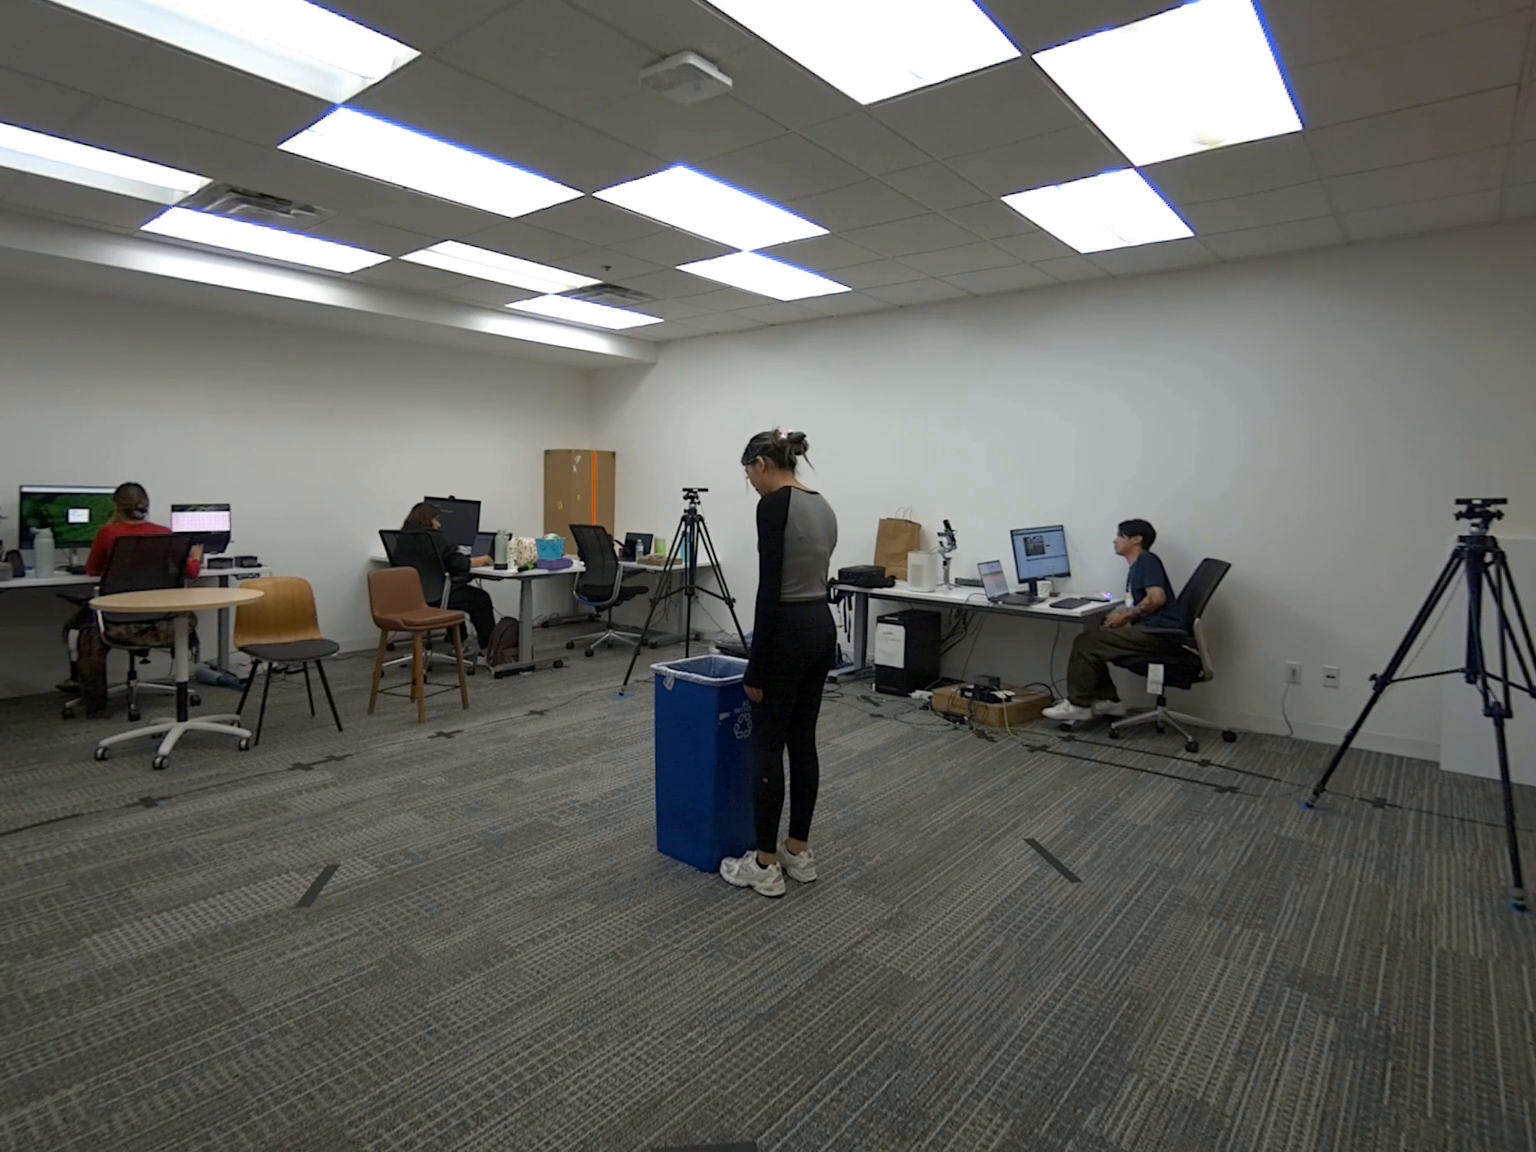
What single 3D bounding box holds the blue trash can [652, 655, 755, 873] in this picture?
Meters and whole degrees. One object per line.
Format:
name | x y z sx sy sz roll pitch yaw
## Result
blue trash can | -0.223 0.696 3.268 0.391 0.711 0.363 4 4 40
